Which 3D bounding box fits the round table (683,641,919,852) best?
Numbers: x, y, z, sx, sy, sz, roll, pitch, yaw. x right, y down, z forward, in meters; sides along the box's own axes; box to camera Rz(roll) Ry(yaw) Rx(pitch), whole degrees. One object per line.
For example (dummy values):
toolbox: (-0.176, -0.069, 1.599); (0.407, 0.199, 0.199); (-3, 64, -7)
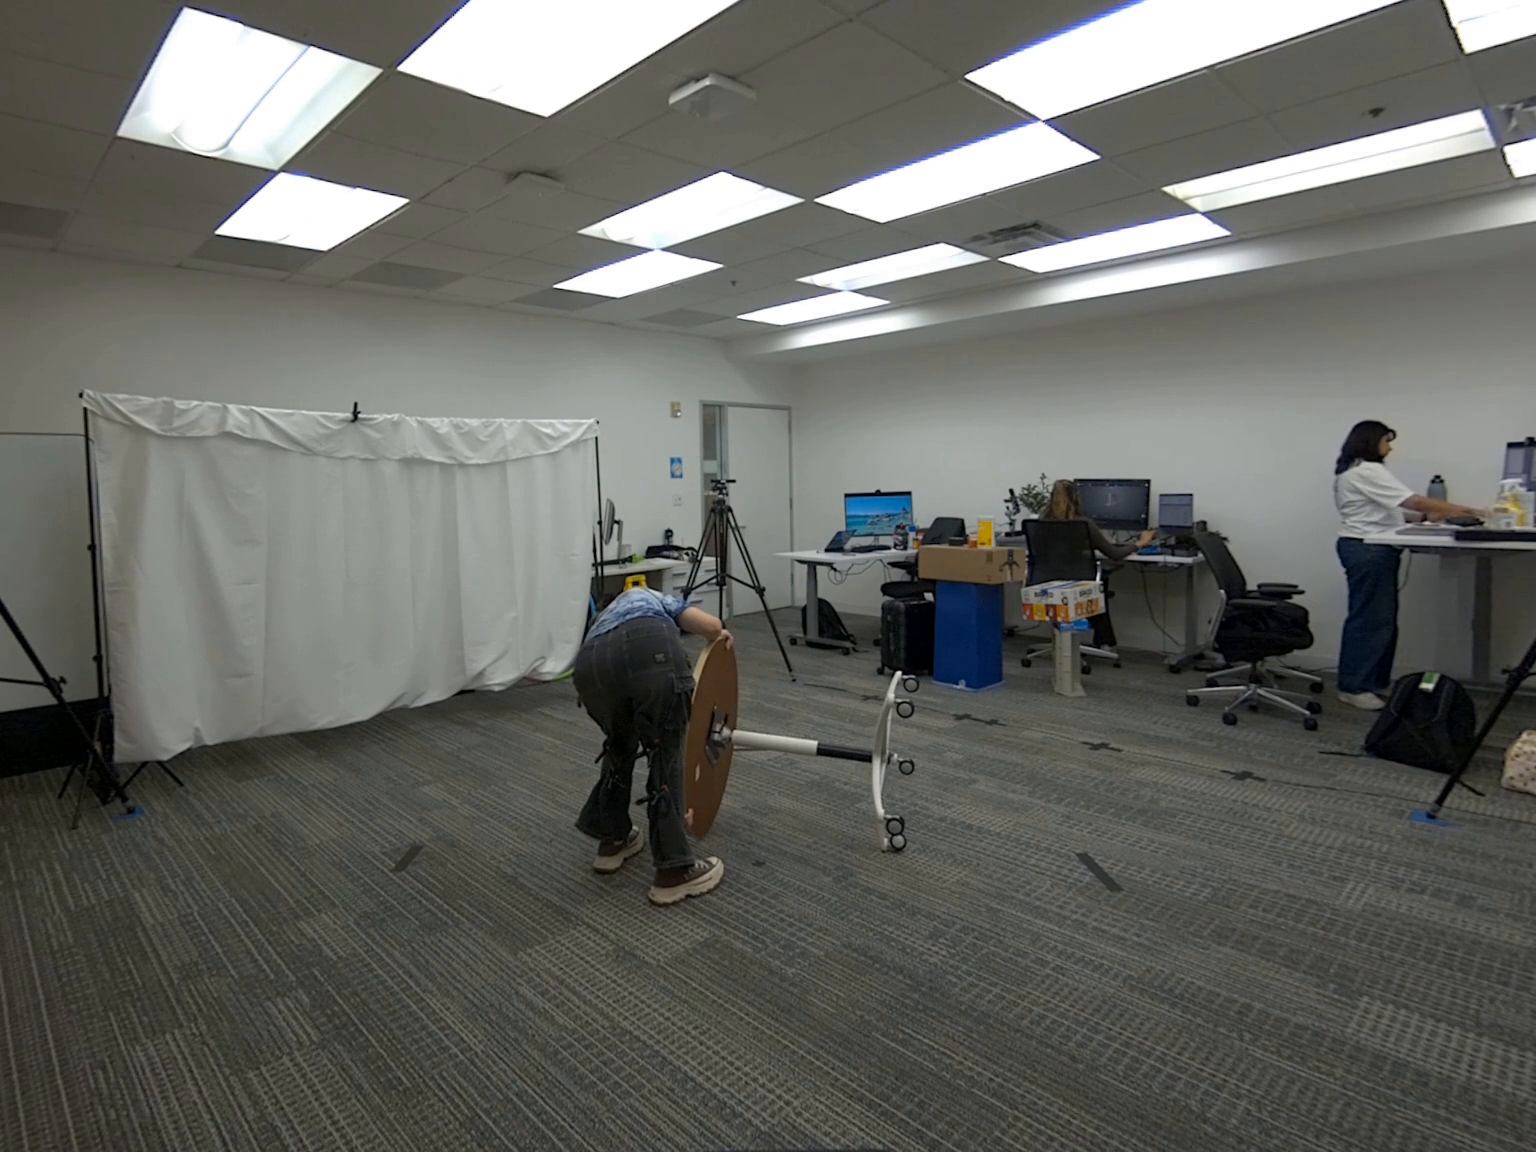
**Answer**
round table: (0.157, 0.668, 3.272); (0.804, 0.761, 0.757); (4, 6, 12)
